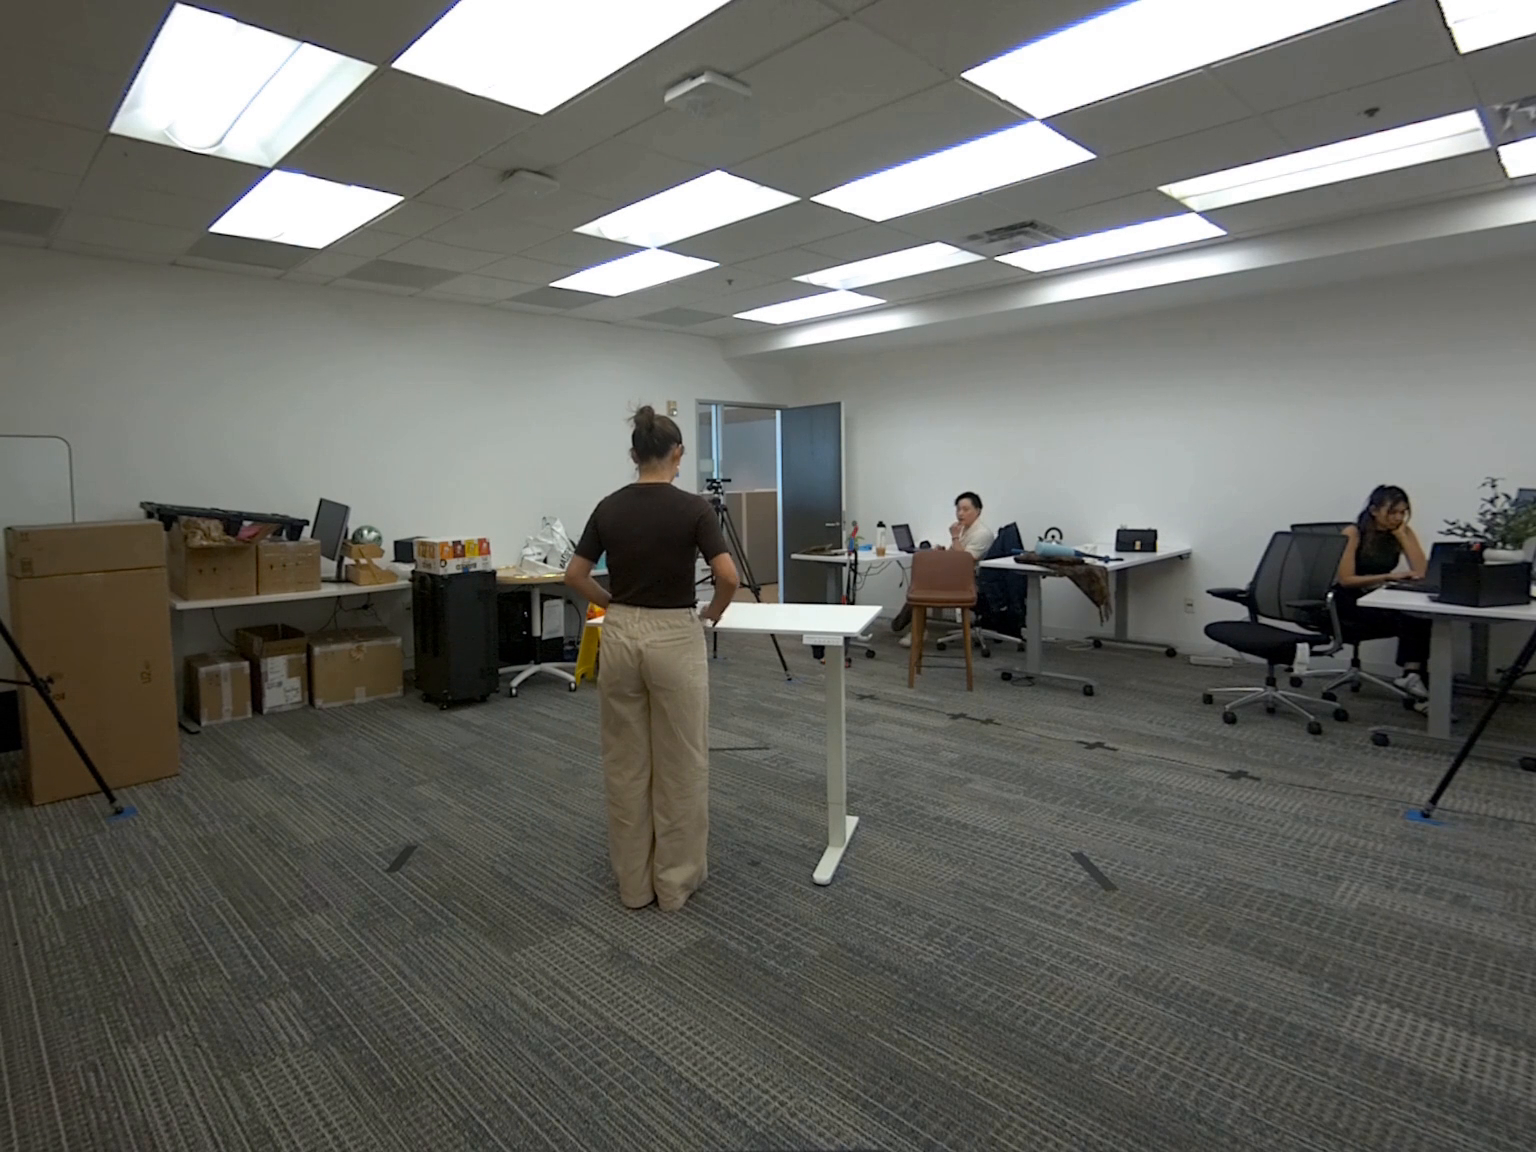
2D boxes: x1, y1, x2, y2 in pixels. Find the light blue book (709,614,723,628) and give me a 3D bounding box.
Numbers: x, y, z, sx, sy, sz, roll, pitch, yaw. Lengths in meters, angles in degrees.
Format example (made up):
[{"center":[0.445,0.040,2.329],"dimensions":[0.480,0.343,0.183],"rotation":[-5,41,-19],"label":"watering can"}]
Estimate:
[{"center":[-0.289,0.142,3.070],"dimensions":[0.194,0.059,0.258],"rotation":[-1,7,16],"label":"light blue book"}]
